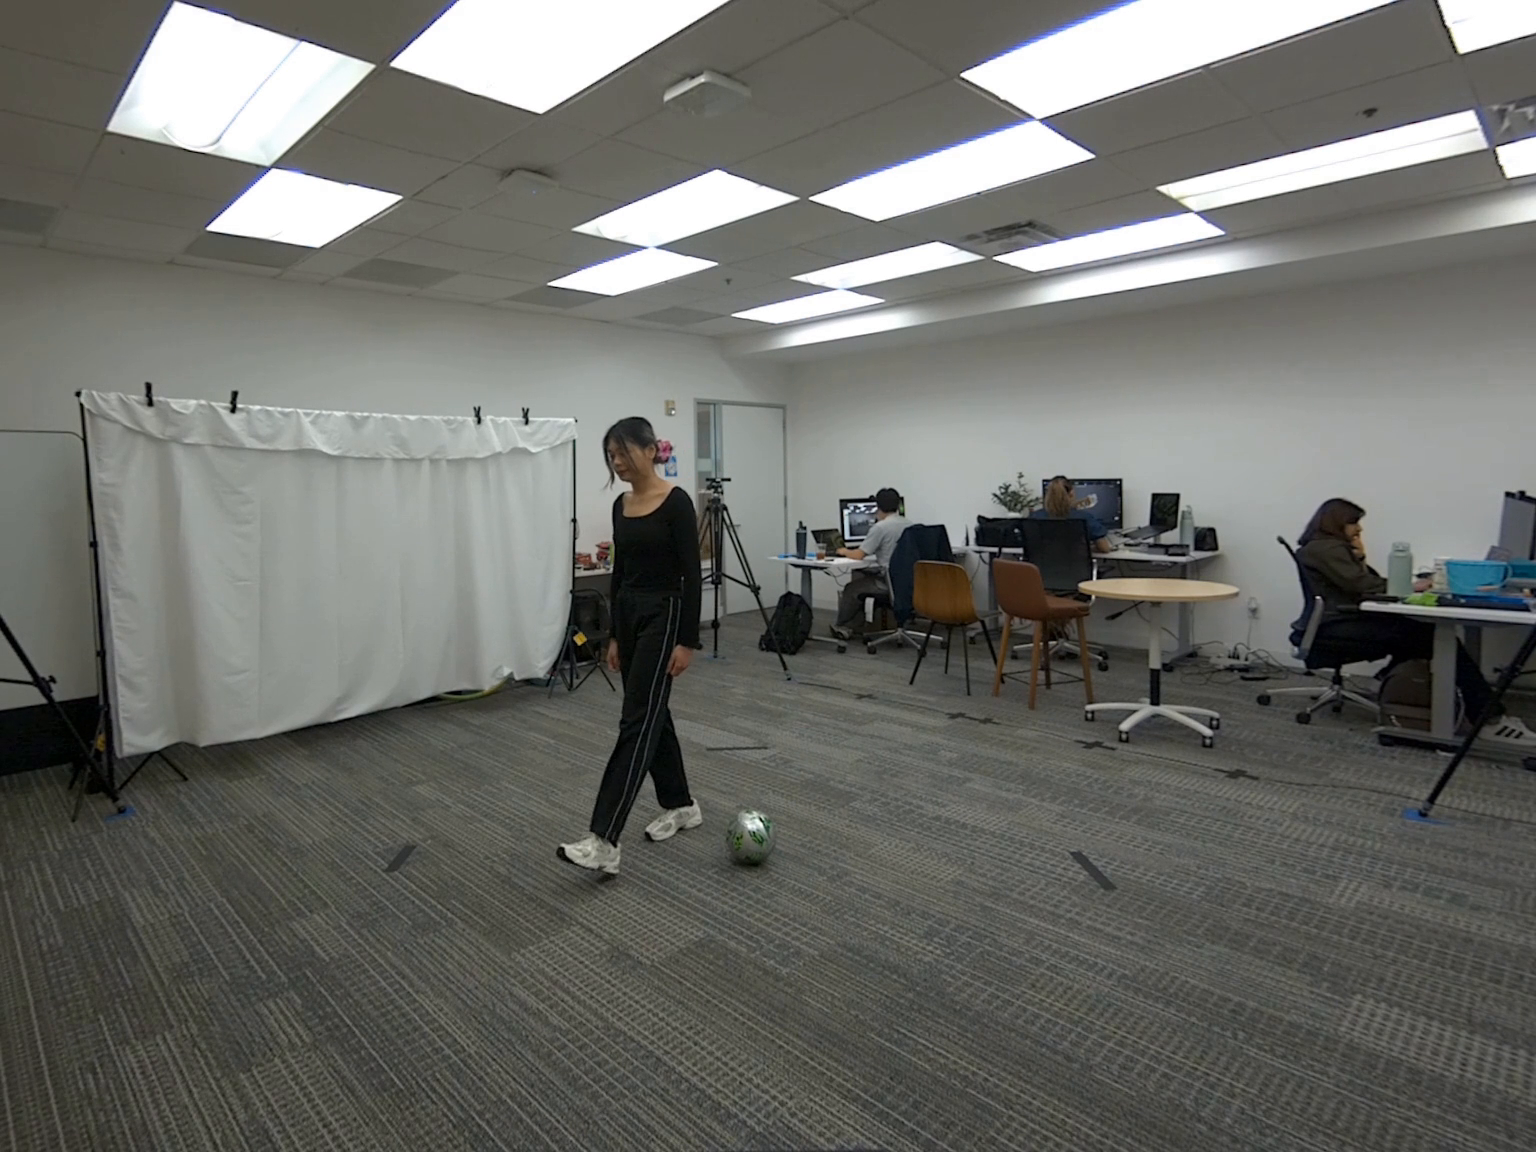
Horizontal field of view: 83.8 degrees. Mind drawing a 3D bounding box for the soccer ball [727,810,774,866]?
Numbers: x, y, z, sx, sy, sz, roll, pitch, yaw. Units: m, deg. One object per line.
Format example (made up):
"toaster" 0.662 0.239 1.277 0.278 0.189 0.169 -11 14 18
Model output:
"soccer ball" -0.056 0.946 3.113 0.187 0.187 0.188 -1 5 -2
